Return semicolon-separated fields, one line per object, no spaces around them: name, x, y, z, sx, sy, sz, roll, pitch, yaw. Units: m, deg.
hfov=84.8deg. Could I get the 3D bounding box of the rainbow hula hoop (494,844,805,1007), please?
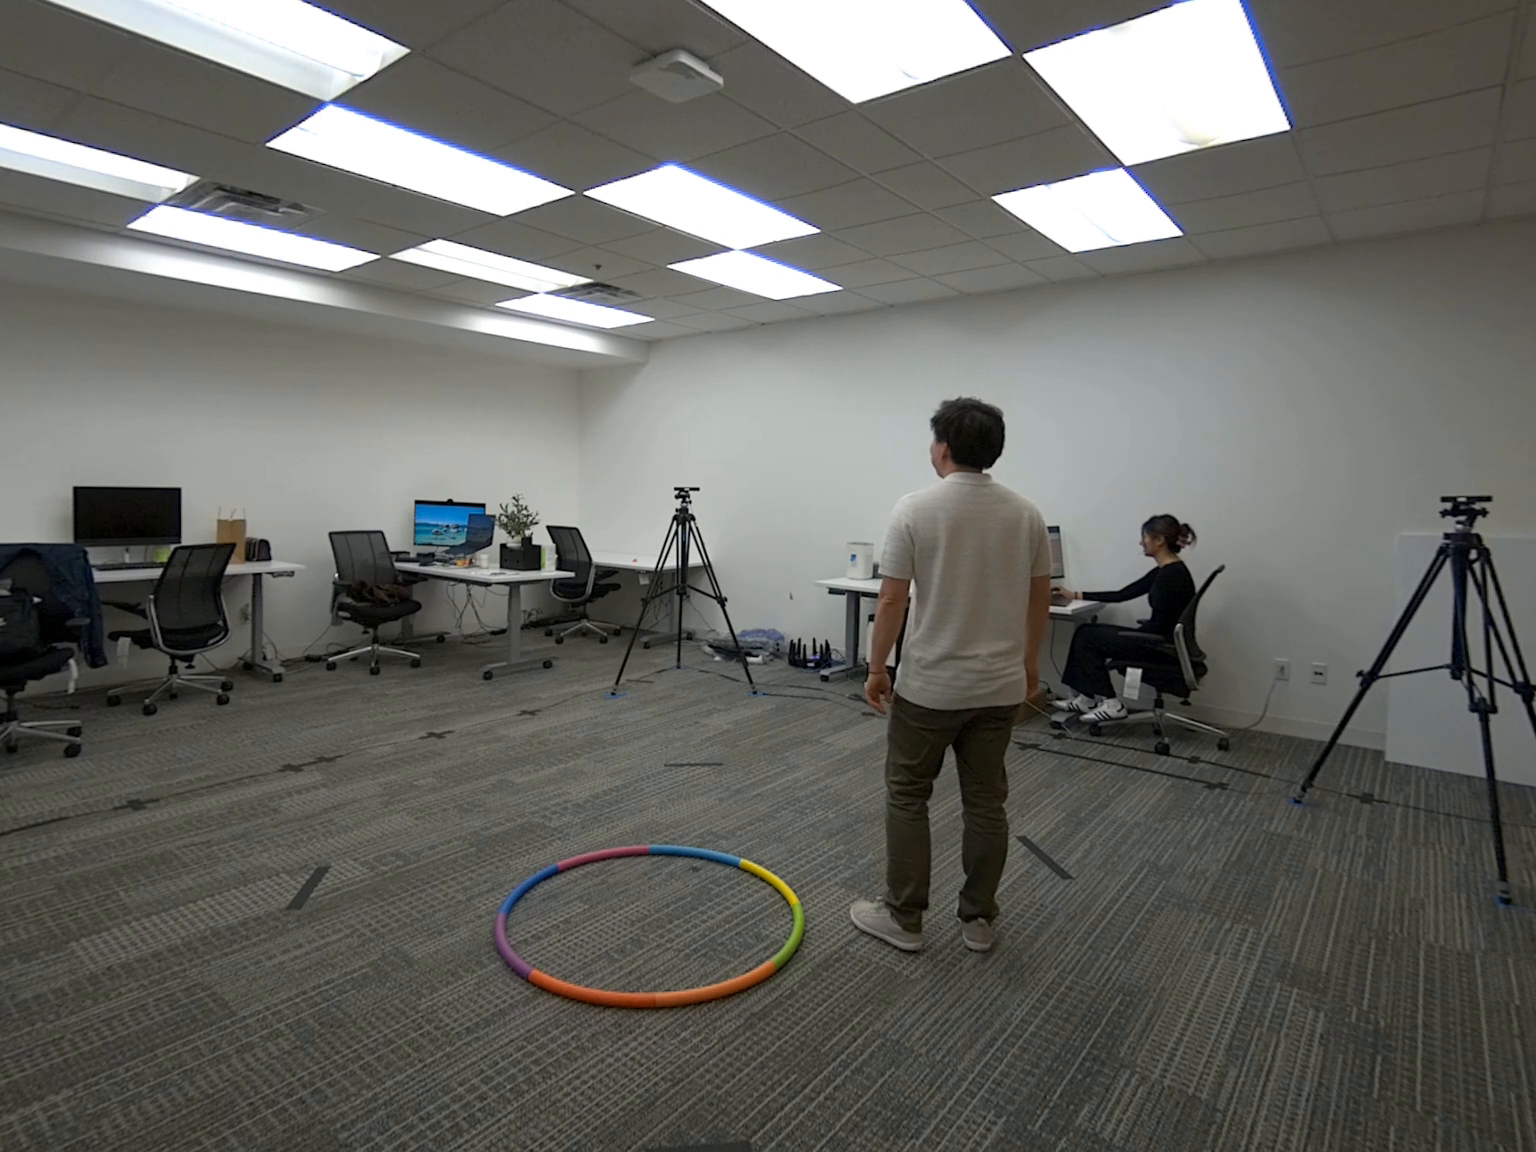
rainbow hula hoop;-0.384;1.068;2.747;0.978;0.035;0.983;0;5;-2
